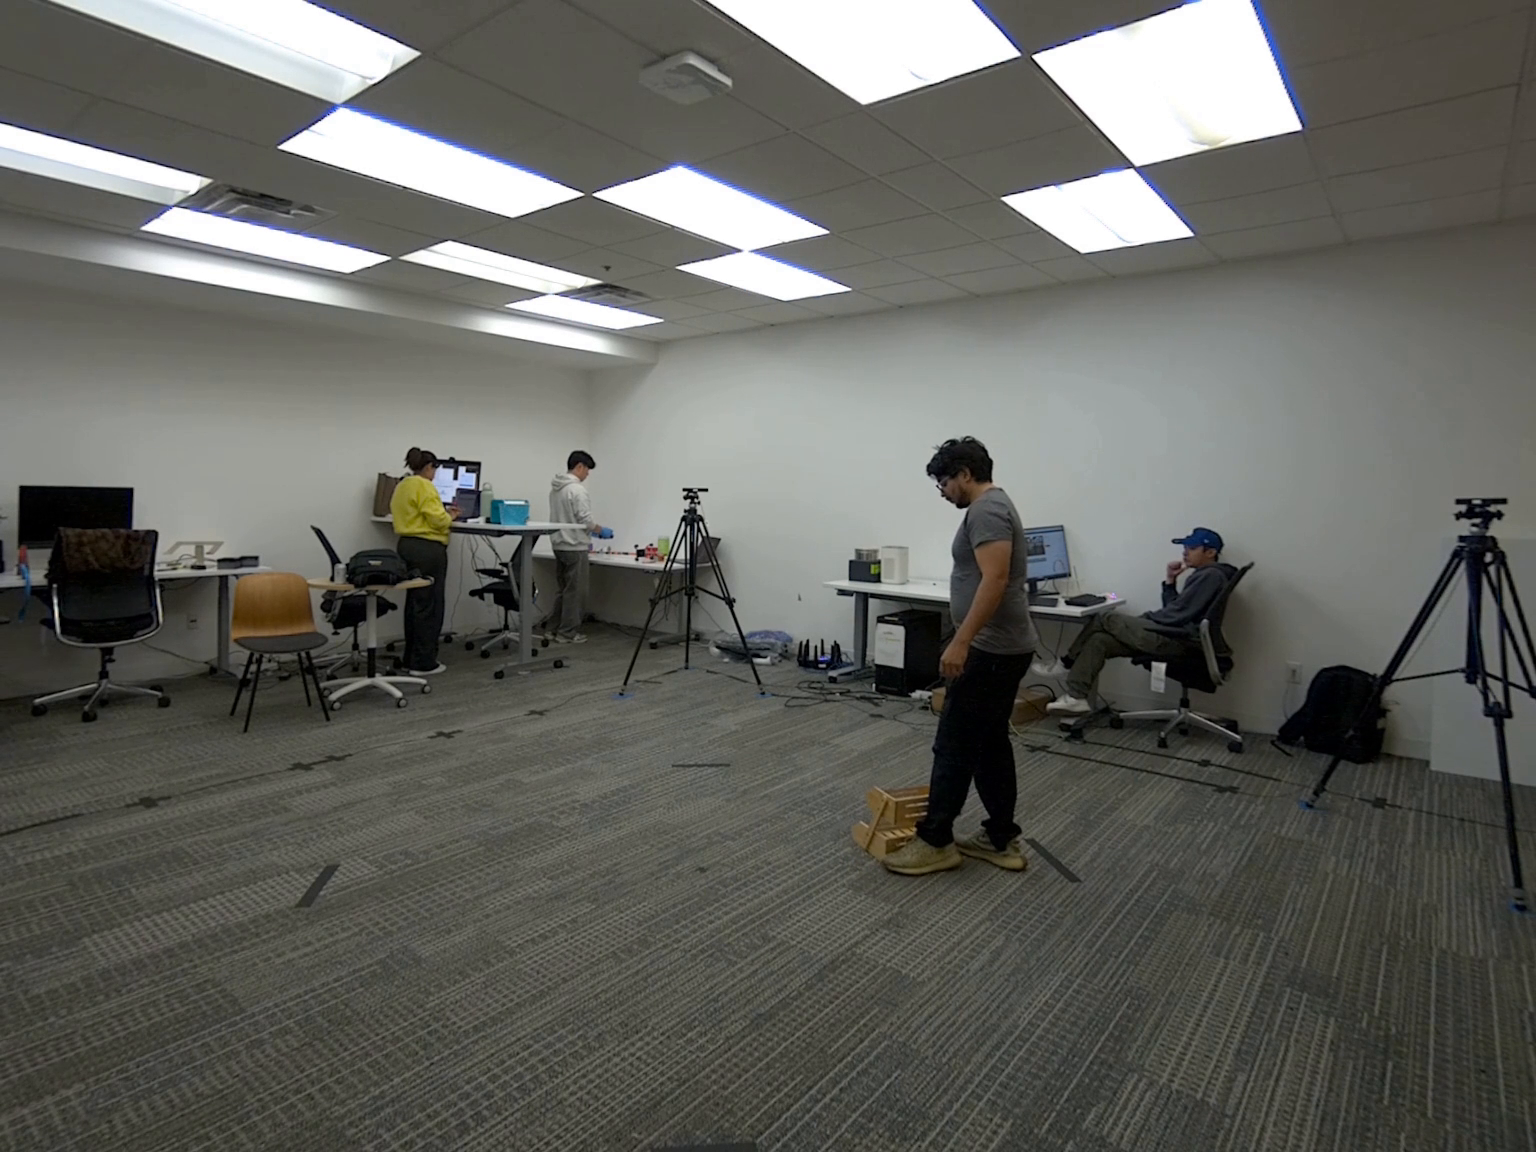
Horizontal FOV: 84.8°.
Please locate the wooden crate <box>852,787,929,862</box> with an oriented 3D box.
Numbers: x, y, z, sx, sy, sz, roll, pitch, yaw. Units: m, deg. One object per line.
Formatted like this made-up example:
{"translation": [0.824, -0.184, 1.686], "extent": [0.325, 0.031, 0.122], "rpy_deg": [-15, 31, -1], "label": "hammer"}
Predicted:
{"translation": [0.529, 0.932, 3.337], "extent": [0.317, 0.272, 0.310], "rpy_deg": [-1, 5, -24], "label": "wooden crate"}
